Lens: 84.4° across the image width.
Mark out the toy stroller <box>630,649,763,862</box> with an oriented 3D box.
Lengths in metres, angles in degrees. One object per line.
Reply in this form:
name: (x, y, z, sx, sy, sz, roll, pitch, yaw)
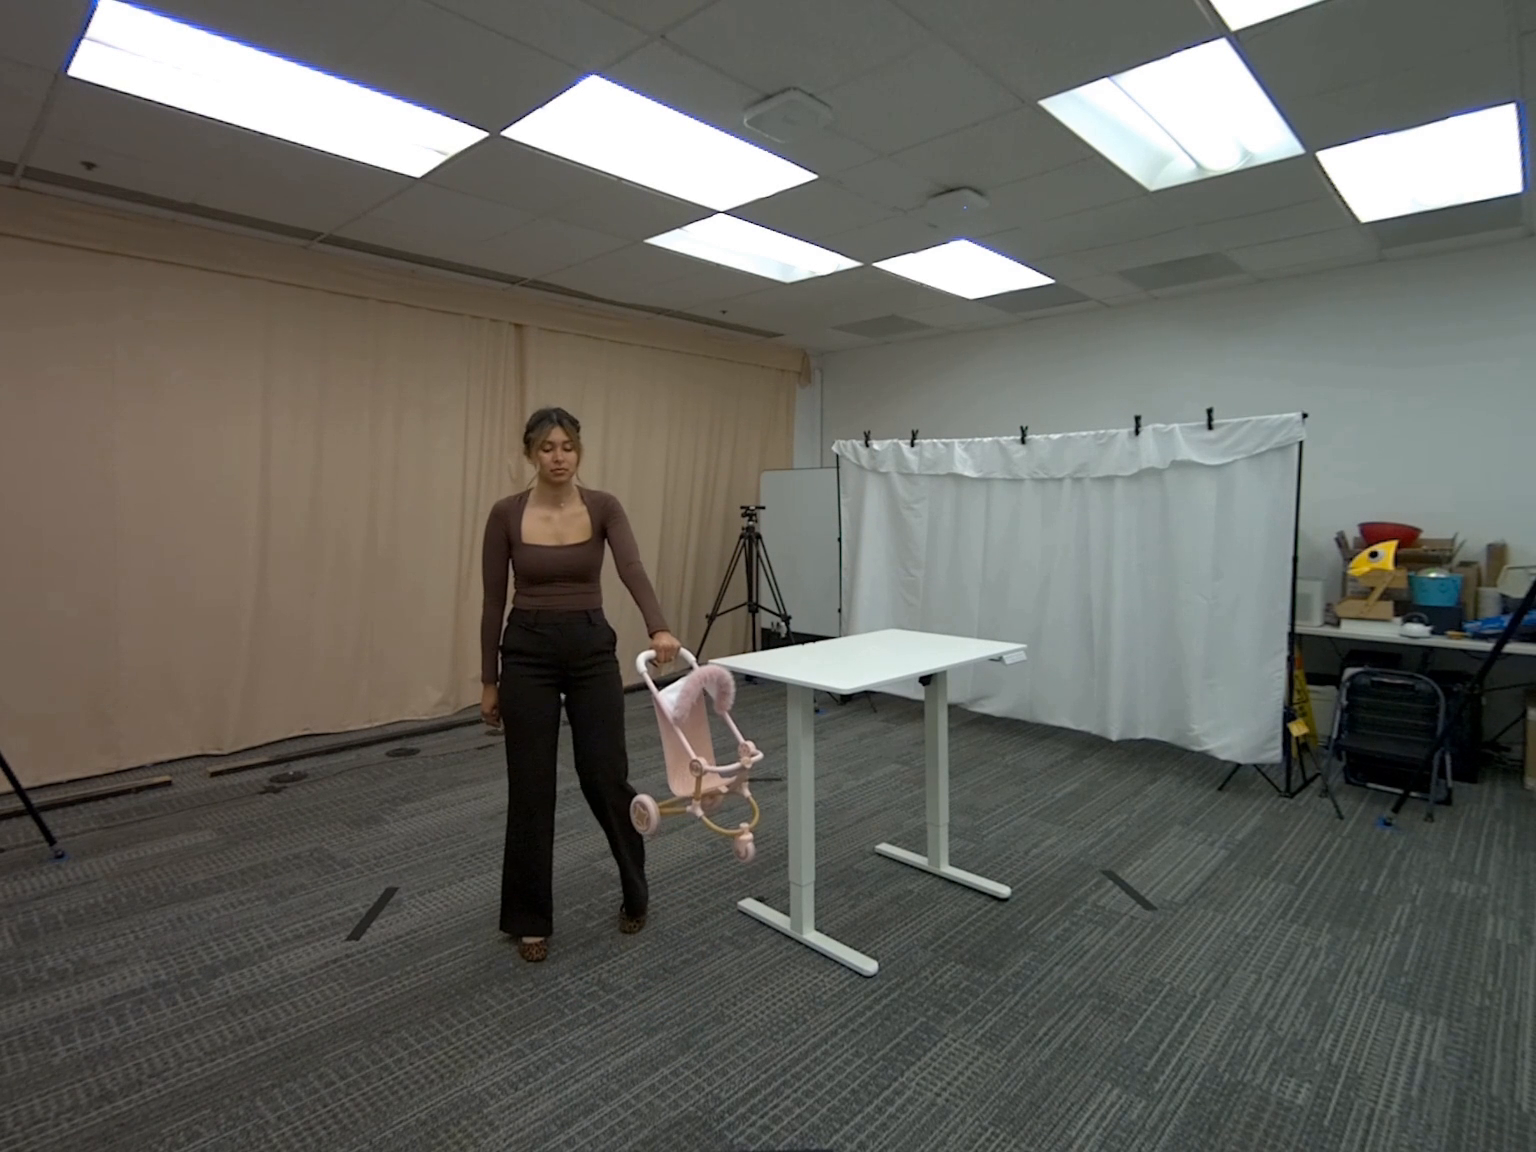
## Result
toy stroller: (-0.171, 0.474, 2.254, 0.272, 0.535, 0.352, -2, 0, -45)
